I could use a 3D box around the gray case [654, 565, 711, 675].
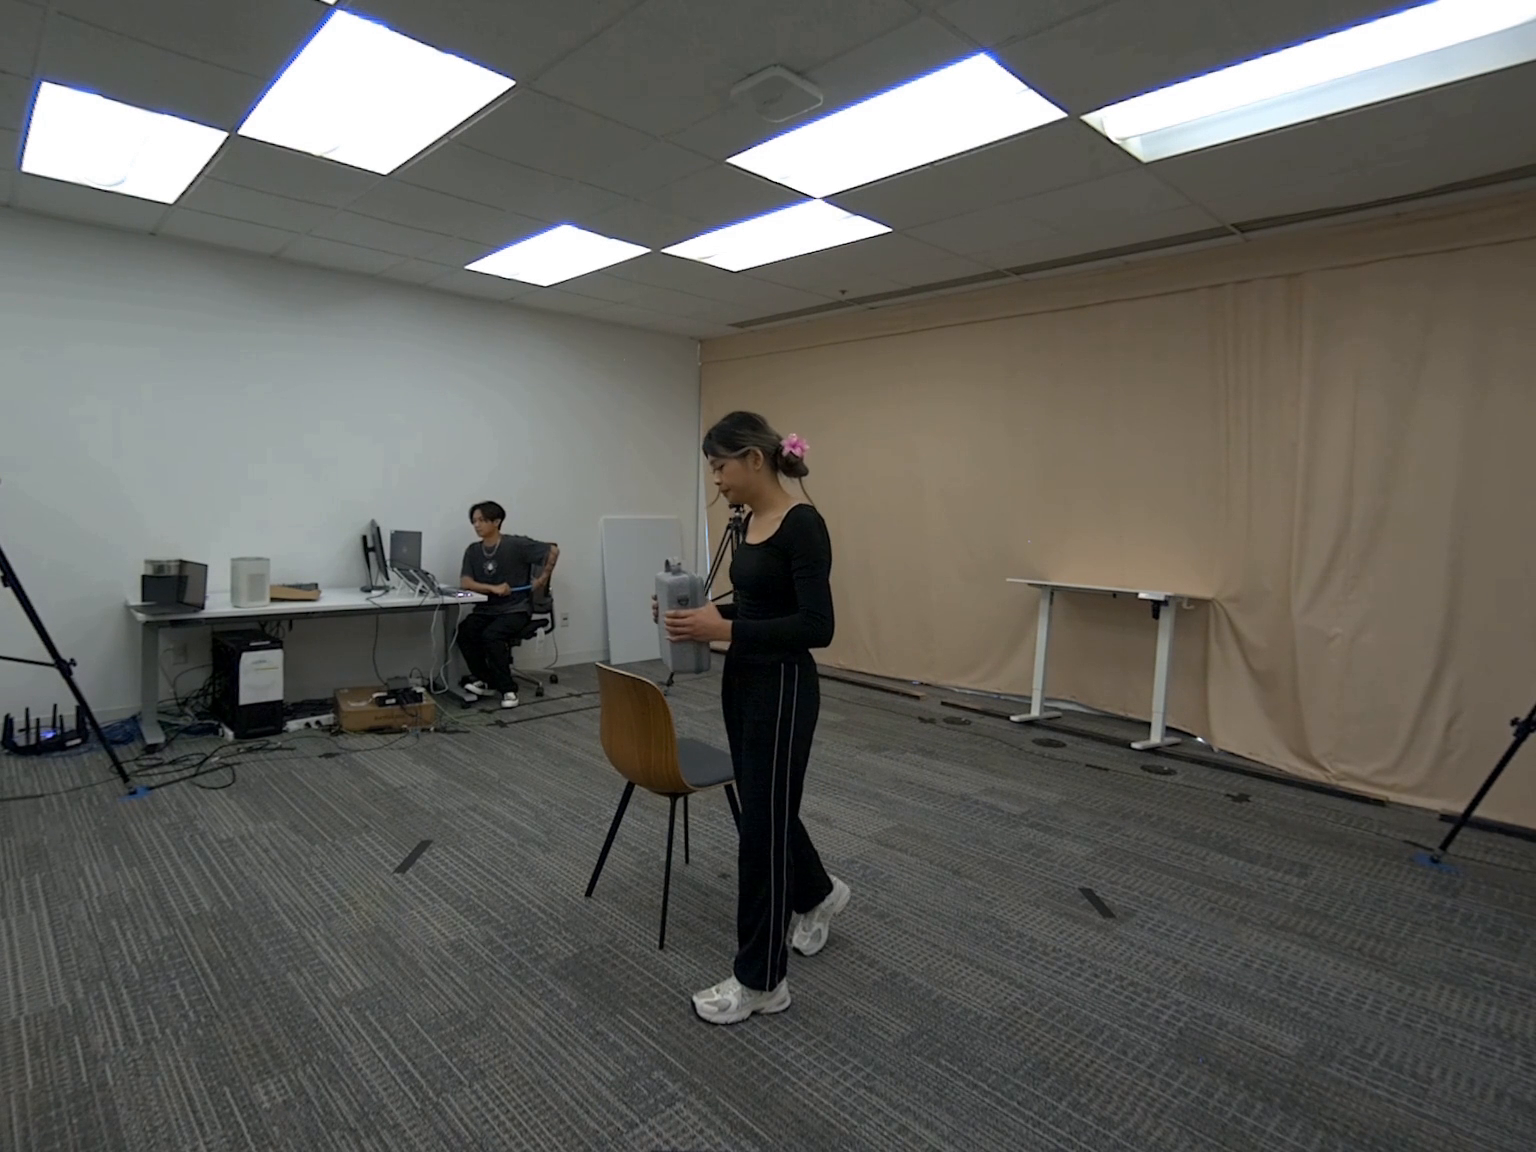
[{"bbox_3d":[-0.230,0.113,2.221,0.103,0.260,0.259,-6,4,-10],"label":"gray case"}]
